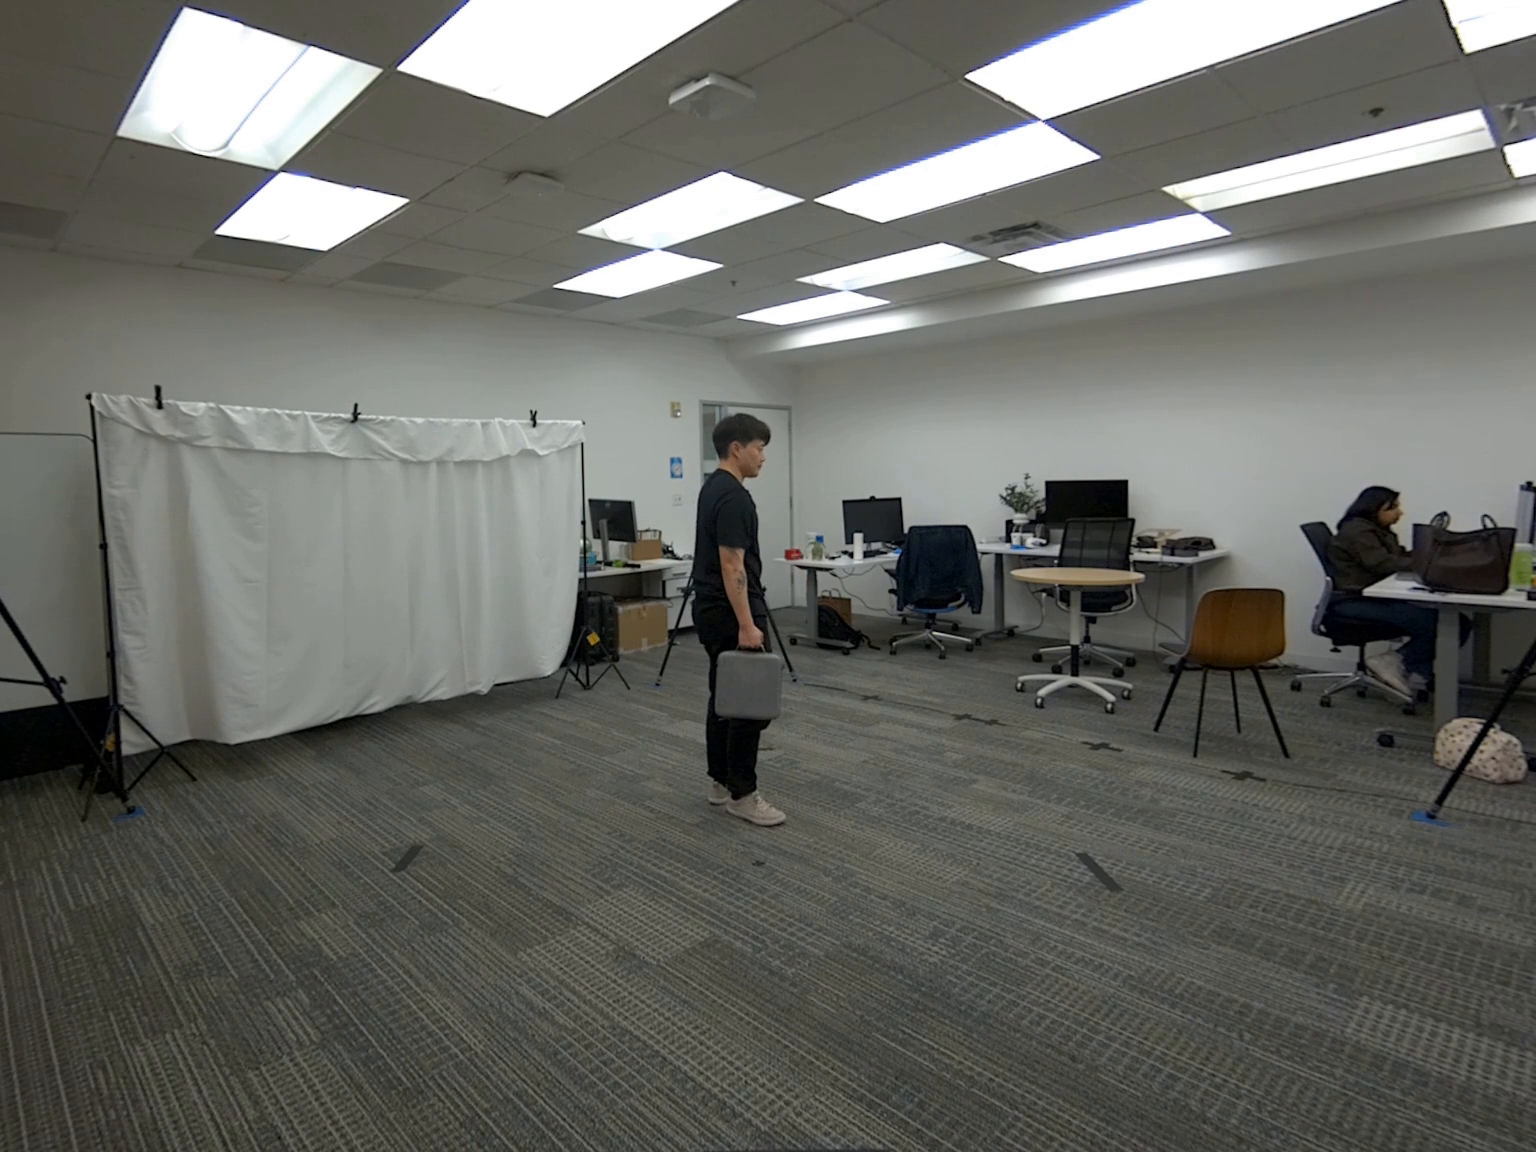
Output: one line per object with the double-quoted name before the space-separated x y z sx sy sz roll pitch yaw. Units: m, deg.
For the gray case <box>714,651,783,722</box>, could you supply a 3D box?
"gray case" -0.073 0.426 3.360 0.257 0.261 0.104 1 -2 2
